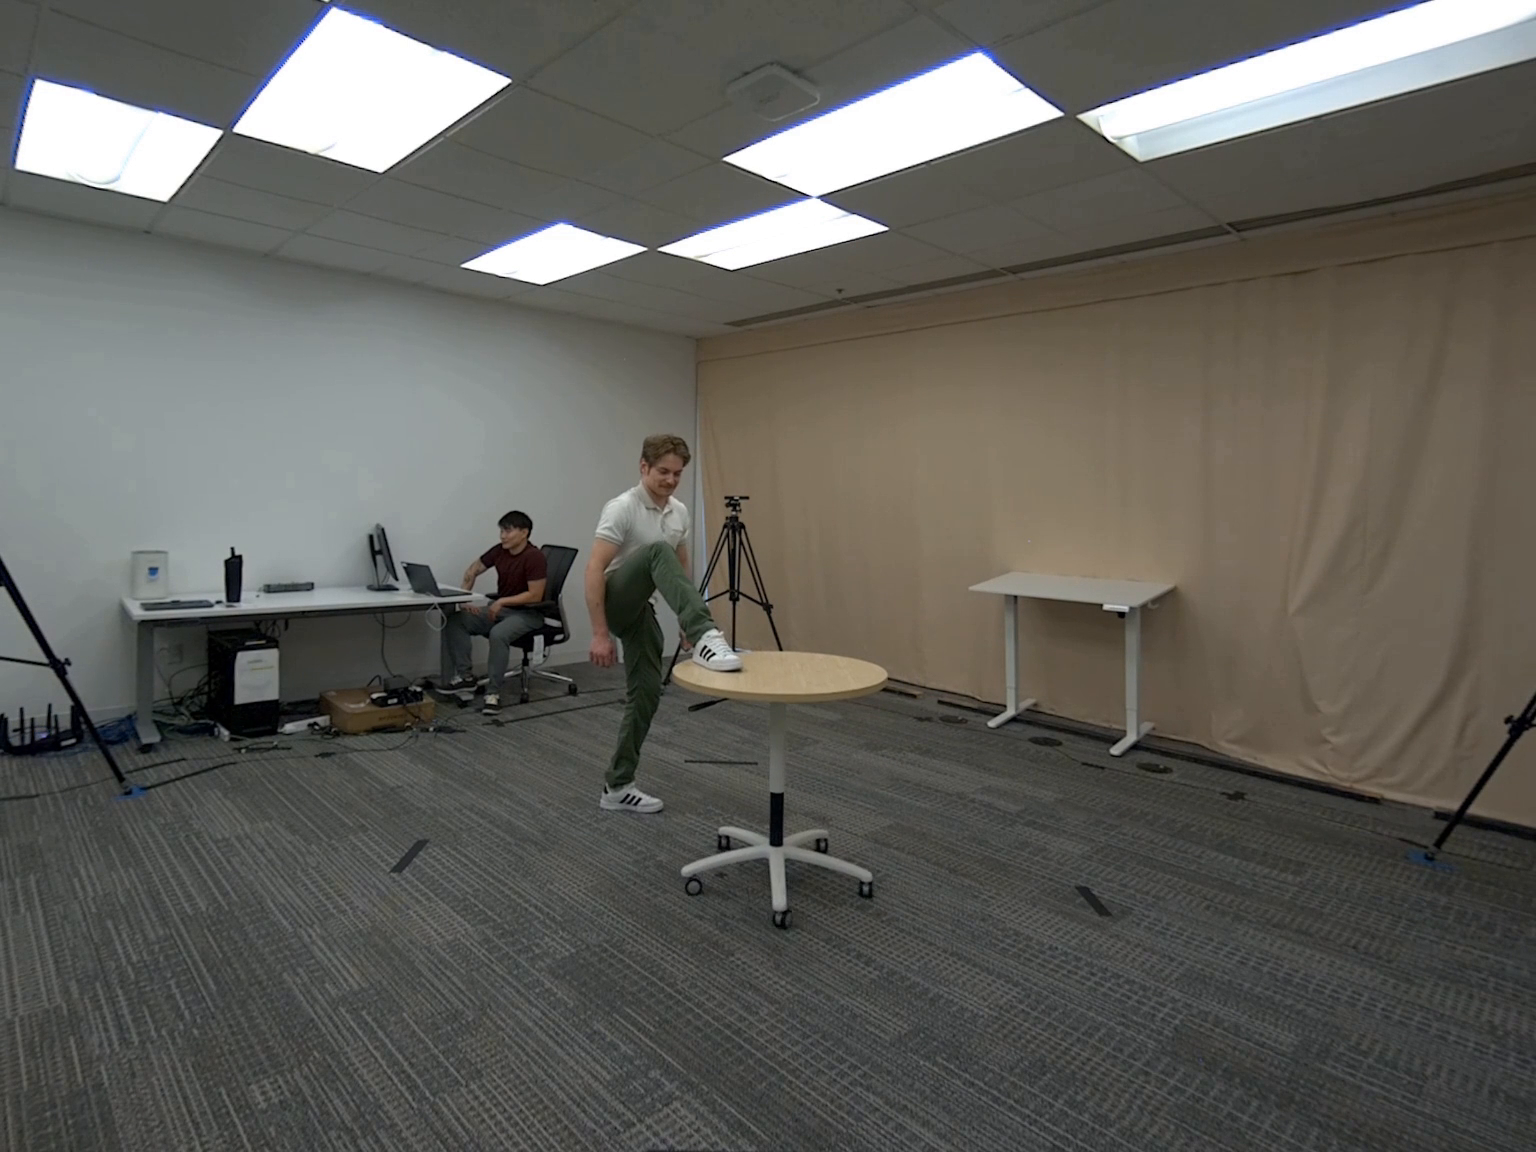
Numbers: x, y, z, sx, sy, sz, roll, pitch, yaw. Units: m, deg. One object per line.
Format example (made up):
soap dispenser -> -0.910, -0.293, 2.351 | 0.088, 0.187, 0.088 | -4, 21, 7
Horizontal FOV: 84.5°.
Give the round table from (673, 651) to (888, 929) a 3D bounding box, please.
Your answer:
round table -> 0.031, 0.729, 3.028 | 0.763, 0.792, 0.766 | 1, 4, -1
